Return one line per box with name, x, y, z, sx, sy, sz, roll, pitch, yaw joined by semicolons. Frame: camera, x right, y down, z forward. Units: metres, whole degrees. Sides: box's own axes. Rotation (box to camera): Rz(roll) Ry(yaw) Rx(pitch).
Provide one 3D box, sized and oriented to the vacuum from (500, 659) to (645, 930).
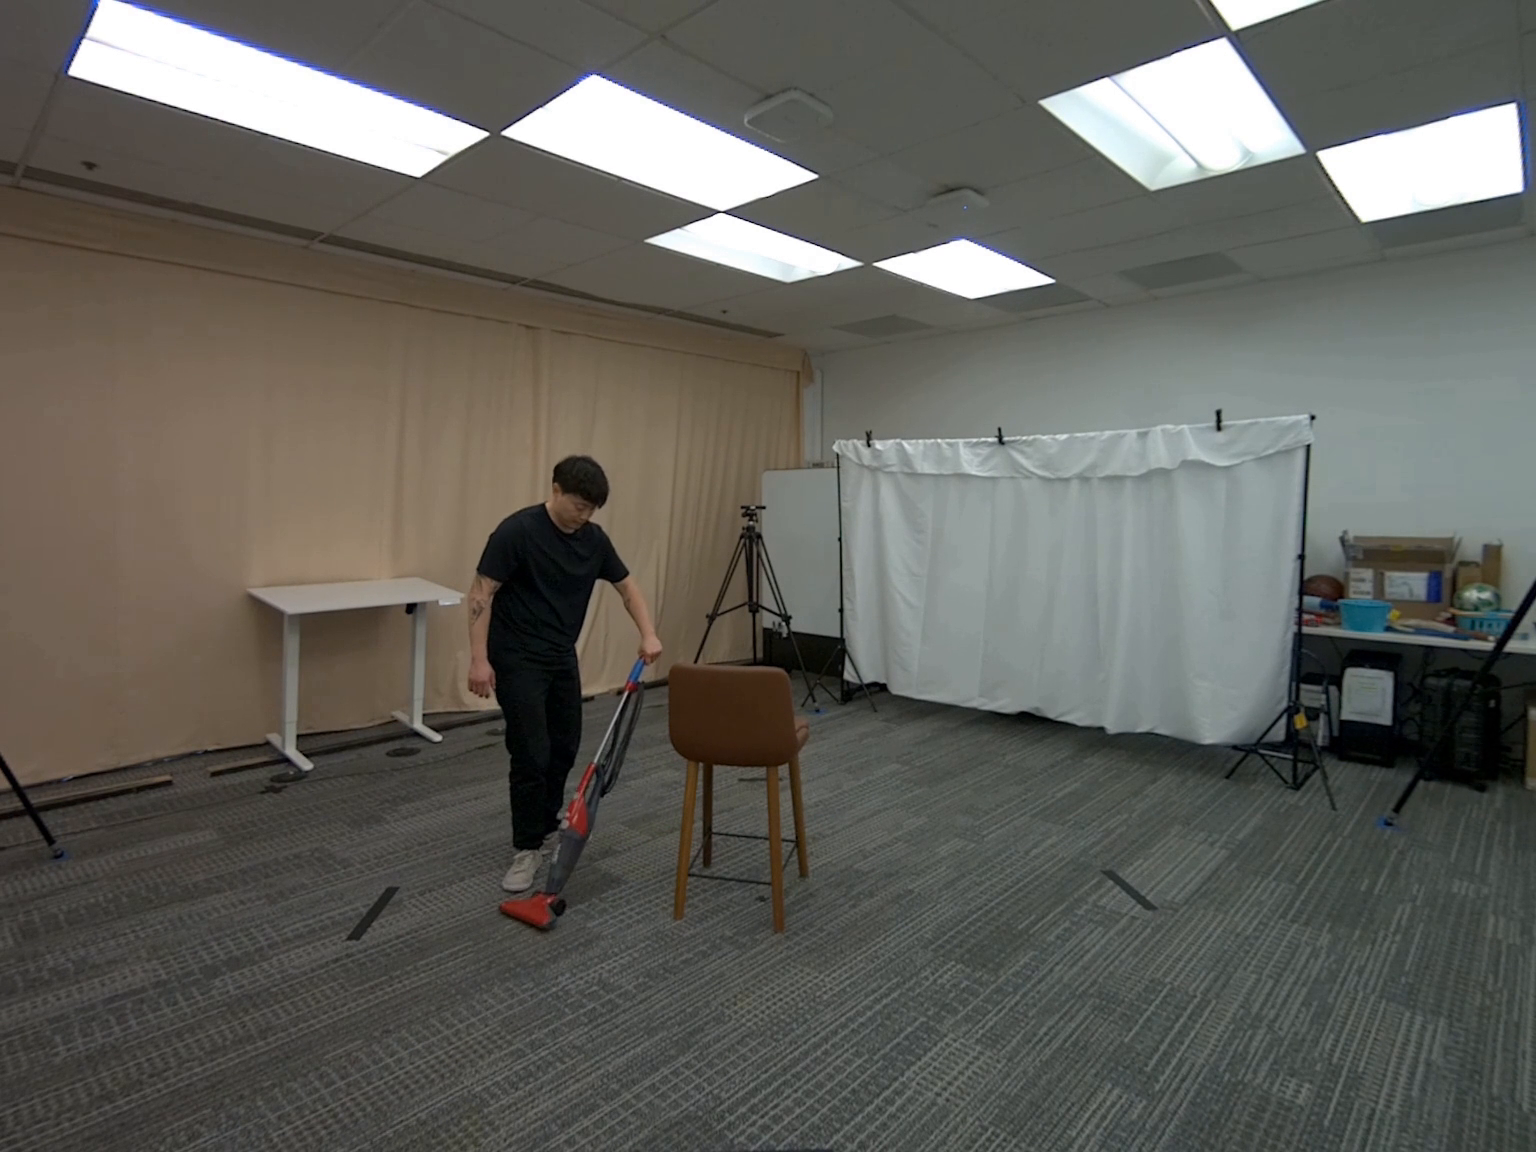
vacuum;-0.610;0.722;3.113;0.260;1.052;0.139;-2;-38;39
